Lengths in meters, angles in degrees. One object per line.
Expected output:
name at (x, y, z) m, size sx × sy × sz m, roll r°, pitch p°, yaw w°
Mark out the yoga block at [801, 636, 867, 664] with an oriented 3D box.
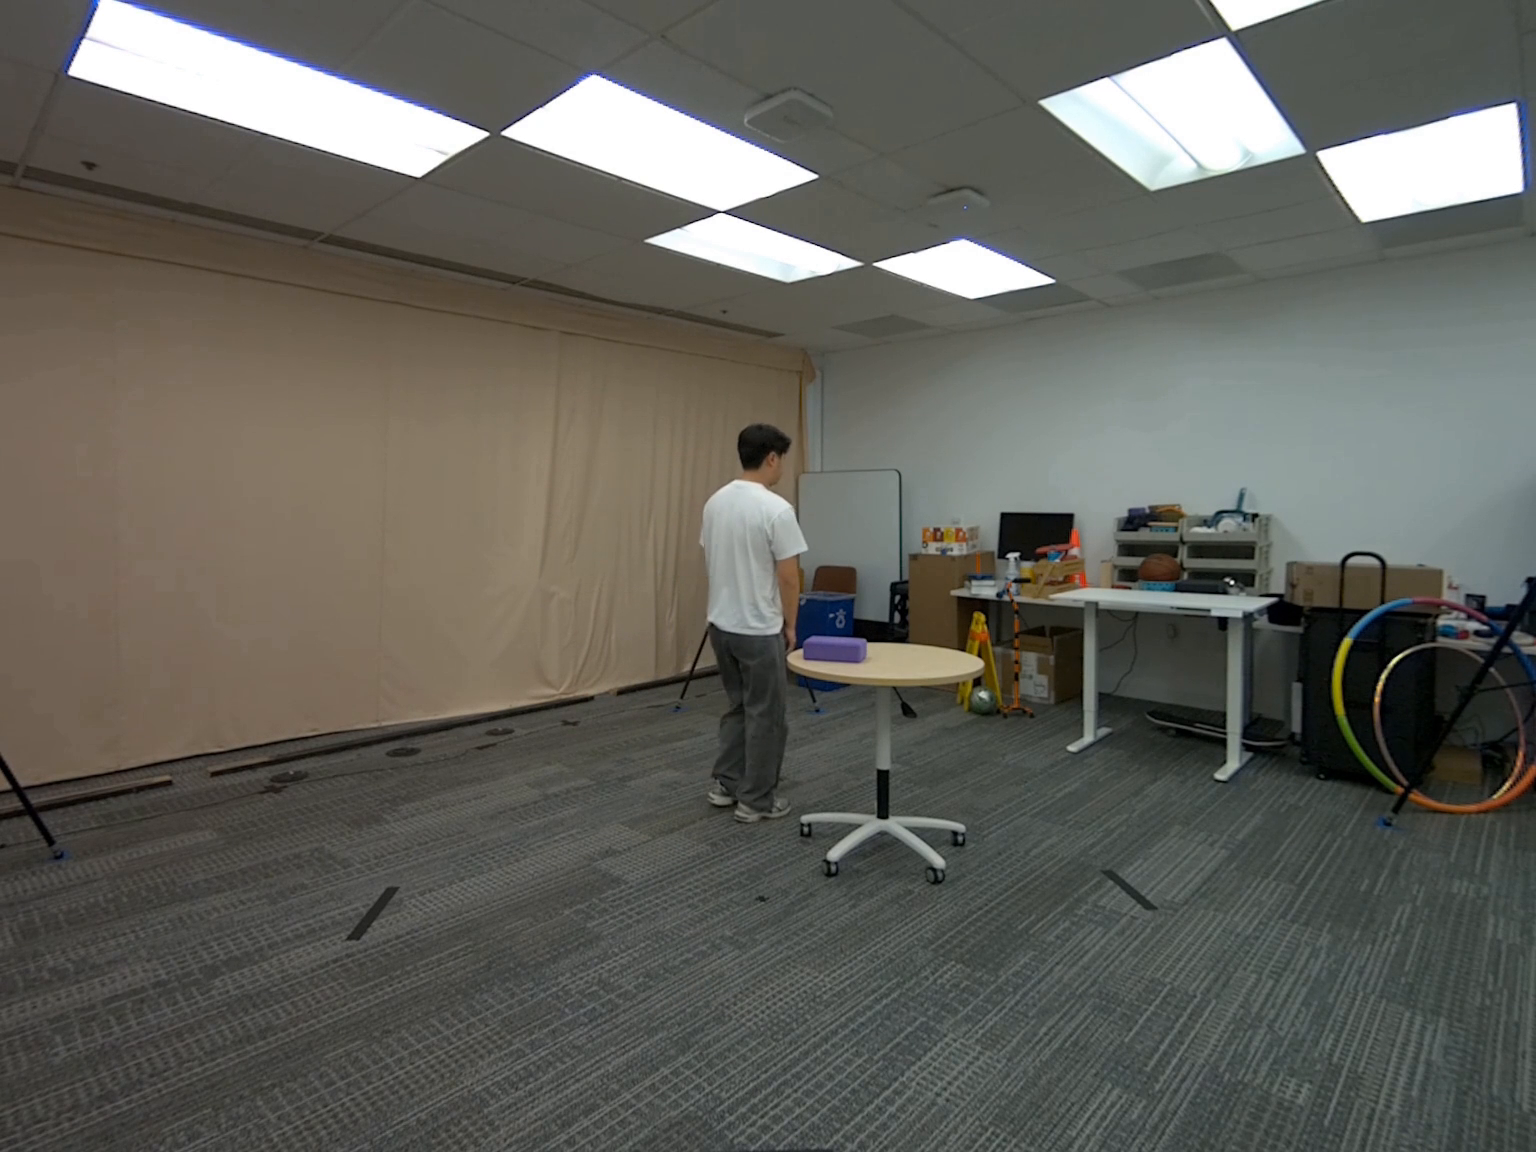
yoga block at (0.281, 0.292, 3.355) m, size 0.234 × 0.076 × 0.146 m, roll 2°, pitch 5°, yaw 18°
